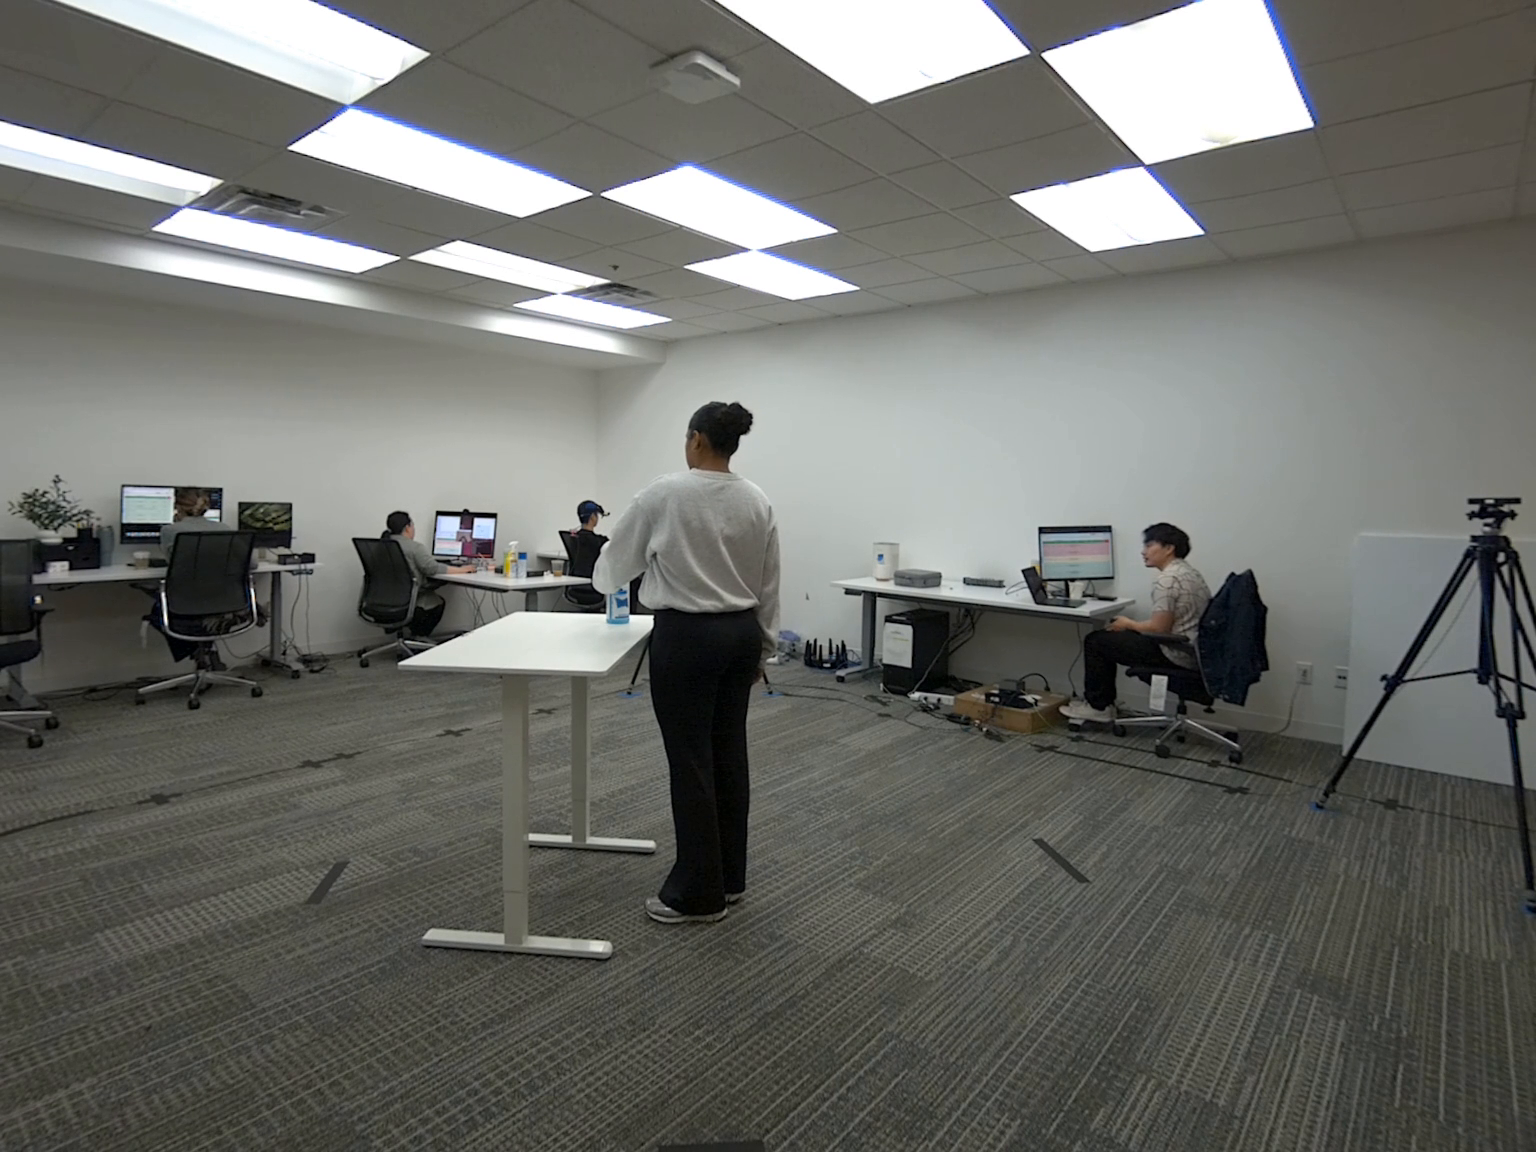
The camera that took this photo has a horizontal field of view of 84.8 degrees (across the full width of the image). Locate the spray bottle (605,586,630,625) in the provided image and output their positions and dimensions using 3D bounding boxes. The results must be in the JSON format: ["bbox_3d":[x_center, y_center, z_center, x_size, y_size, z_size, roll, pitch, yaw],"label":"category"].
[{"bbox_3d":[-0.566,0.025,3.154,0.089,0.297,0.088,2,1,27],"label":"spray bottle"}]
